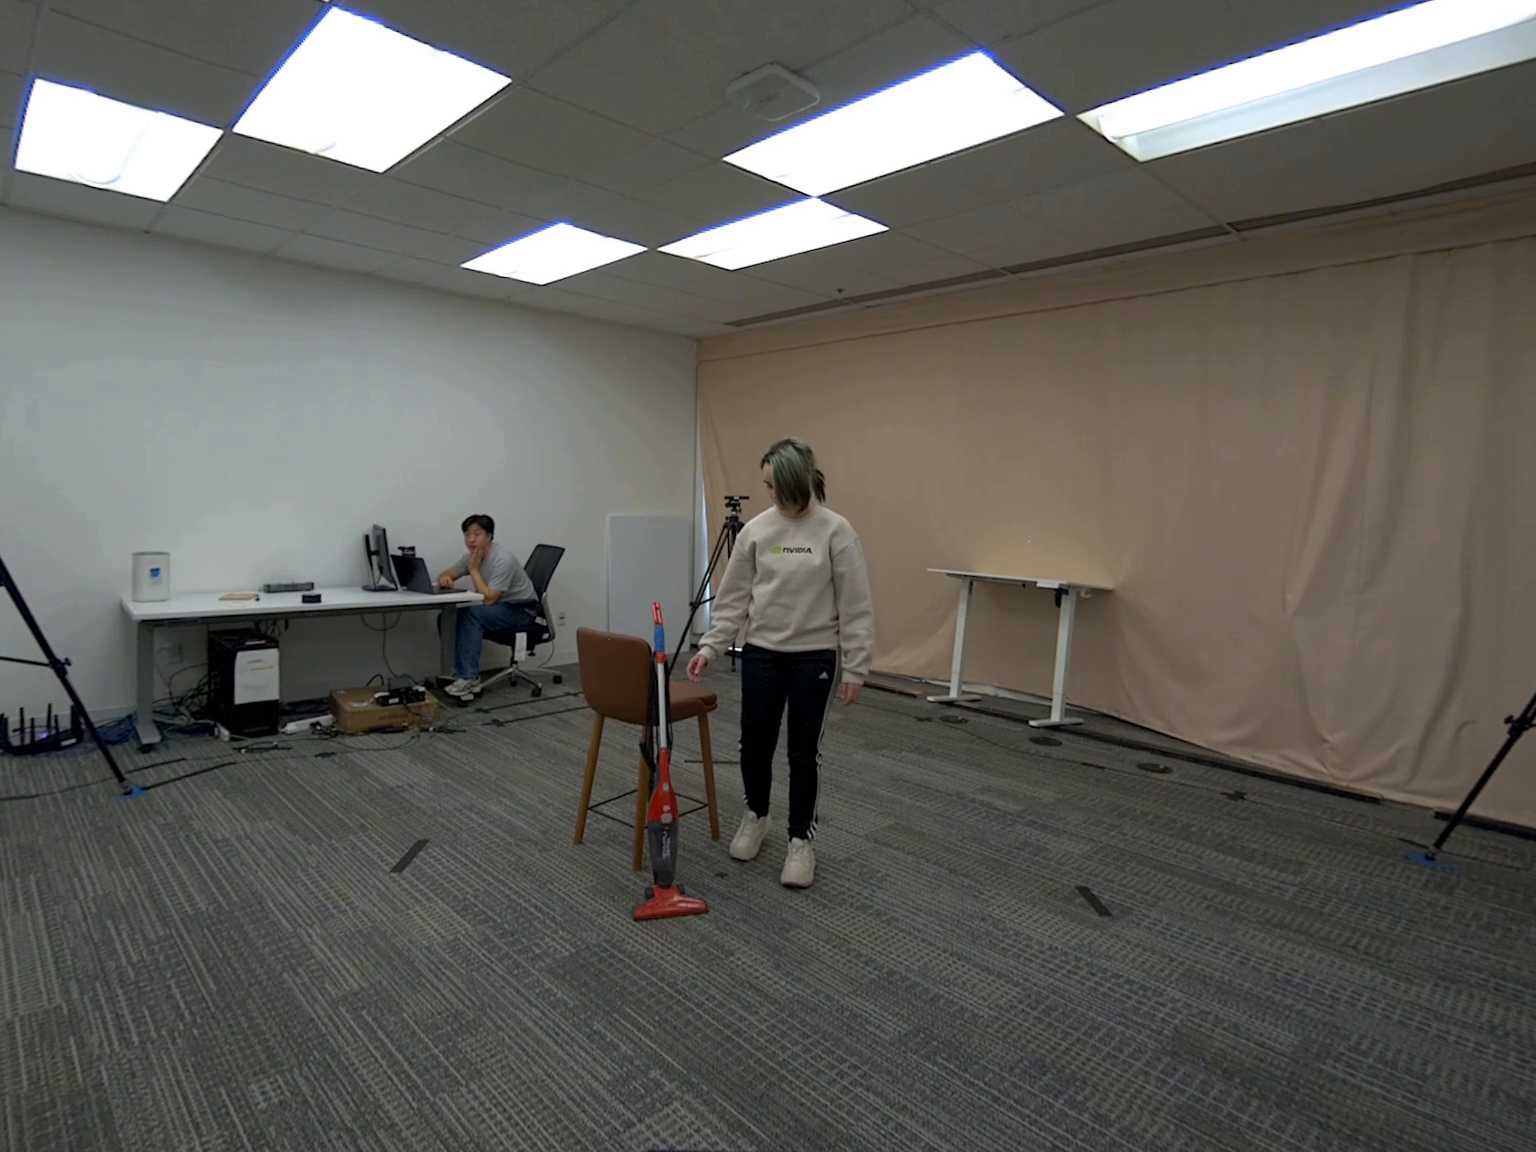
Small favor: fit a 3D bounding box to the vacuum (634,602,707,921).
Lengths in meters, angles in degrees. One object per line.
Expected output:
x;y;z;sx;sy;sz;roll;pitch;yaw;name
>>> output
-0.390;0.620;2.996;0.249;1.063;0.144;-1;-17;-17;vacuum
